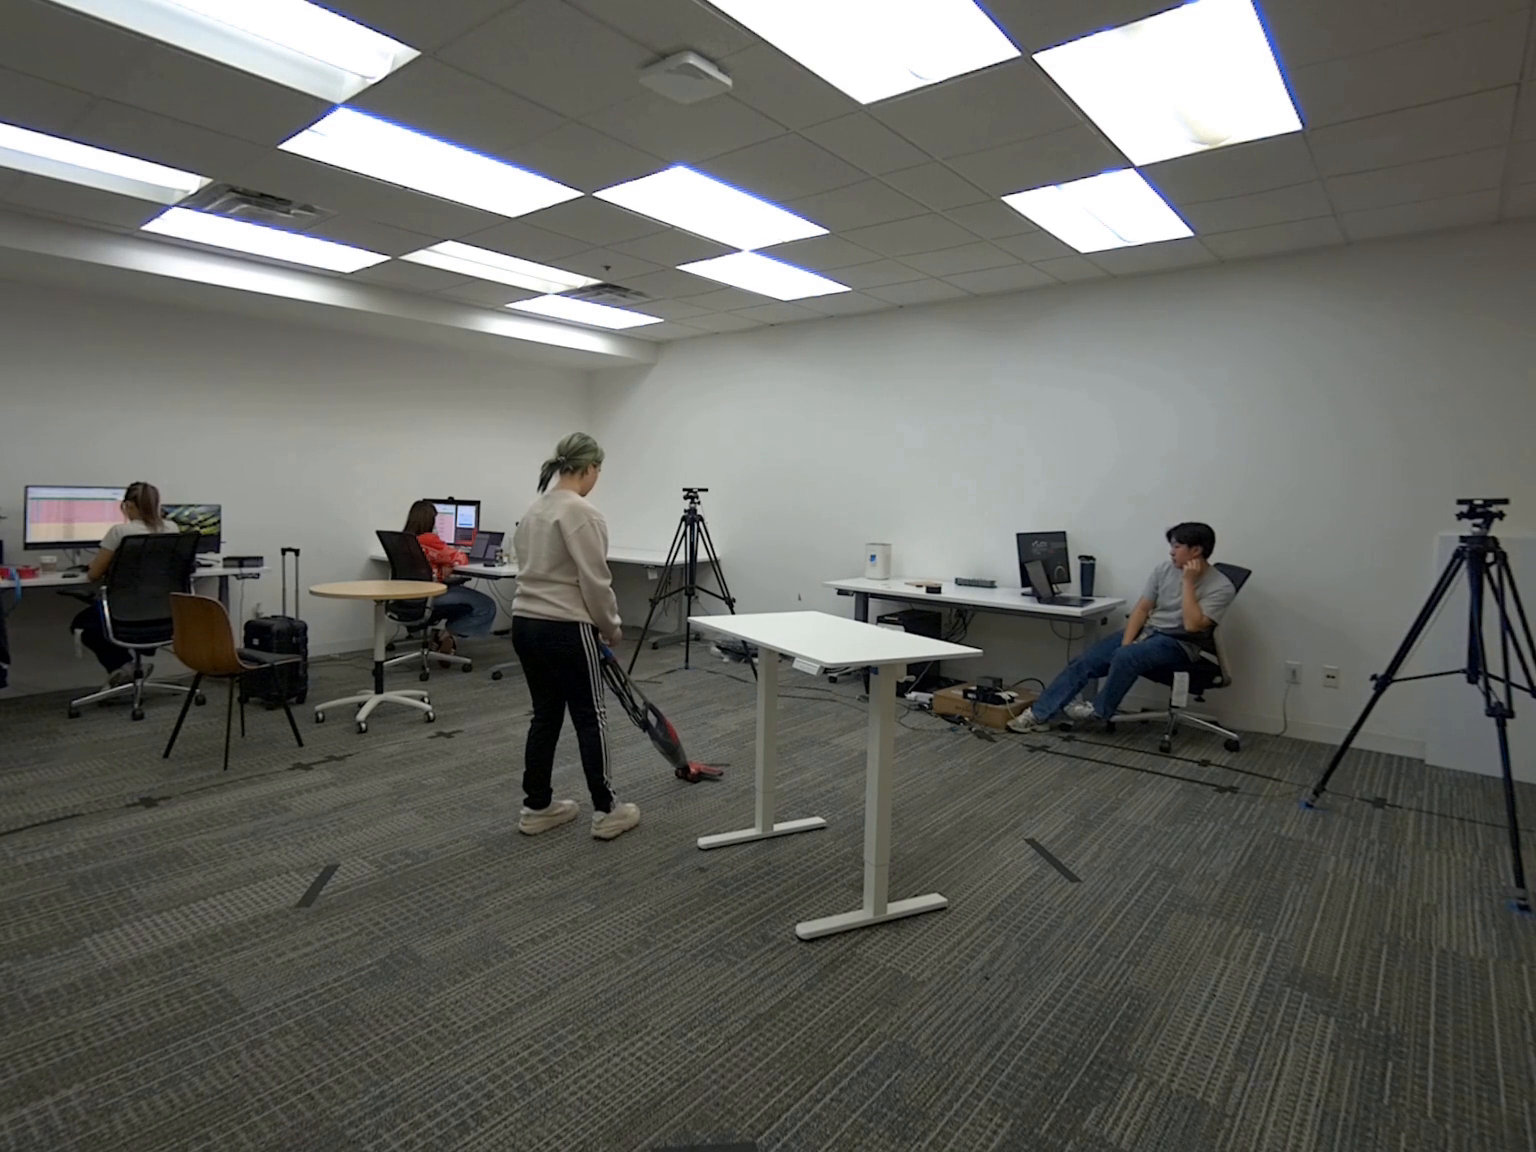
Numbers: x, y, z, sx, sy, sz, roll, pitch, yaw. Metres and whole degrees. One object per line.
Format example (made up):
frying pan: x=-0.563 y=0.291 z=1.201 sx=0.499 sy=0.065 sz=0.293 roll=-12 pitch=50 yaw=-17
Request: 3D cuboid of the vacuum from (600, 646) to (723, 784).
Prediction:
vacuum: x=-0.574 y=0.608 z=3.827 sx=0.259 sy=0.145 sz=1.009 roll=-4 pitch=-46 yaw=34
